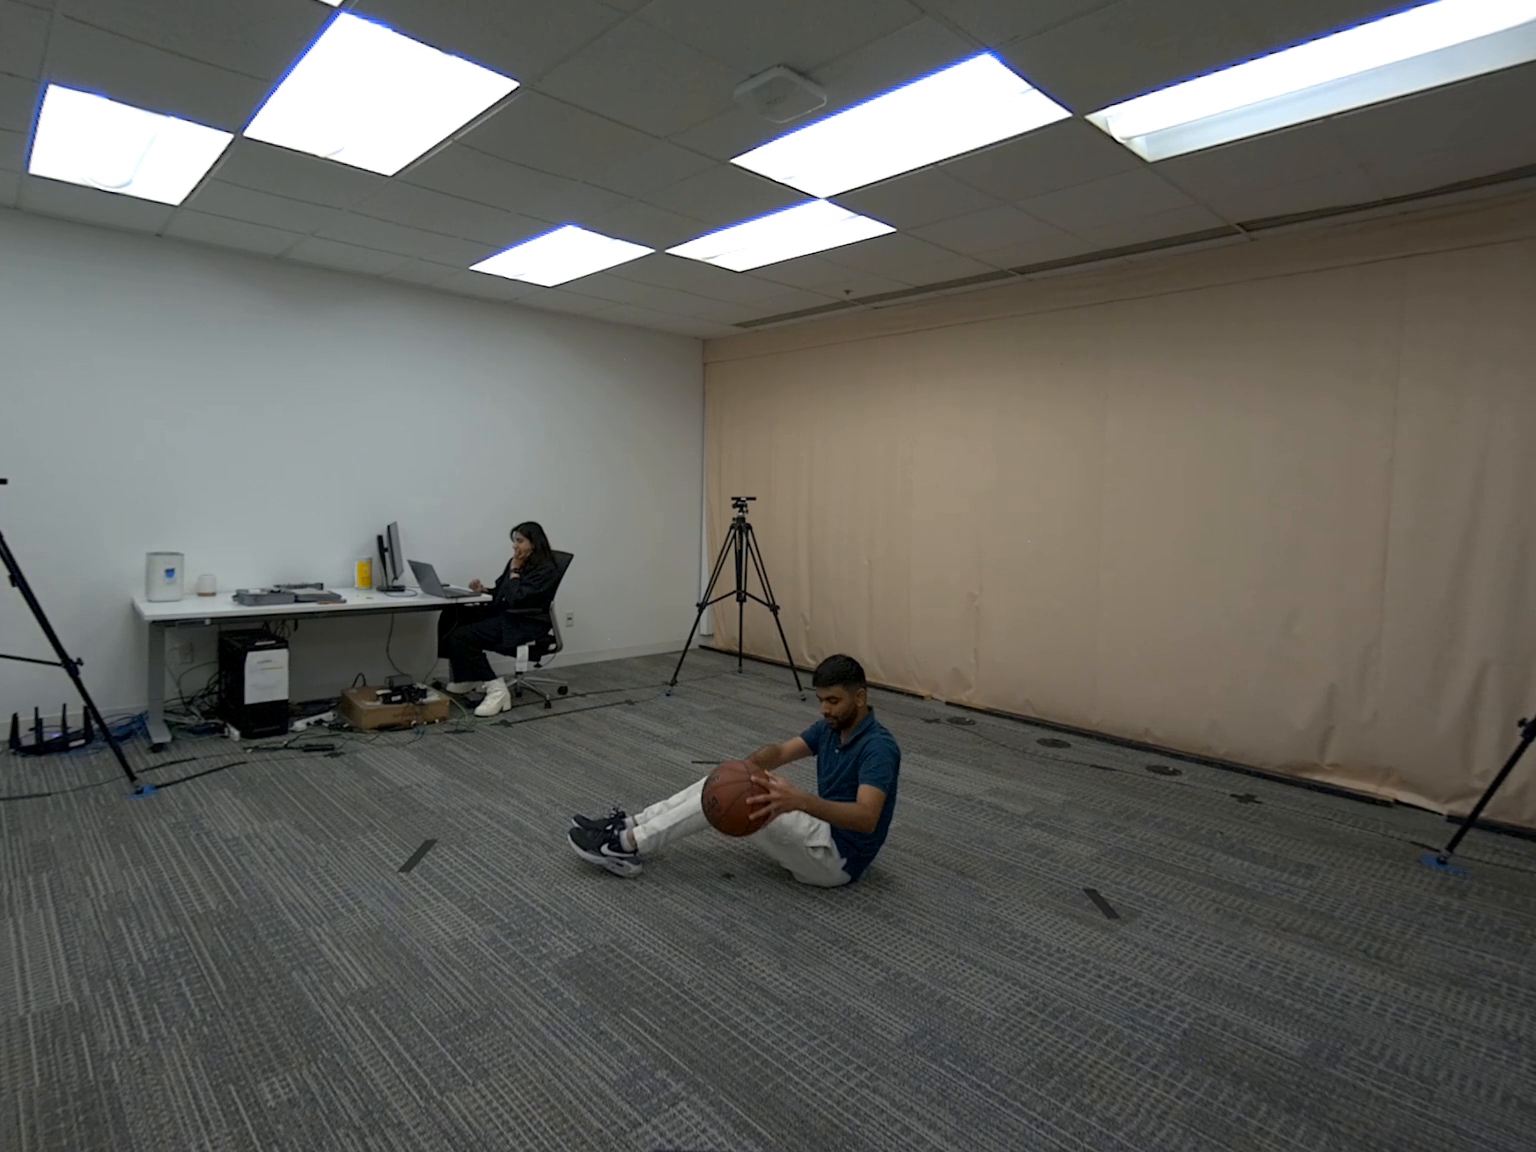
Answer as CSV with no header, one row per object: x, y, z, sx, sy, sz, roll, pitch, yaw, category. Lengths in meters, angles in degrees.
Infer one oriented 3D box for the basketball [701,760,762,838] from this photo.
-0.107,0.734,2.731,0.236,0.235,0.237,1,4,-1,basketball
